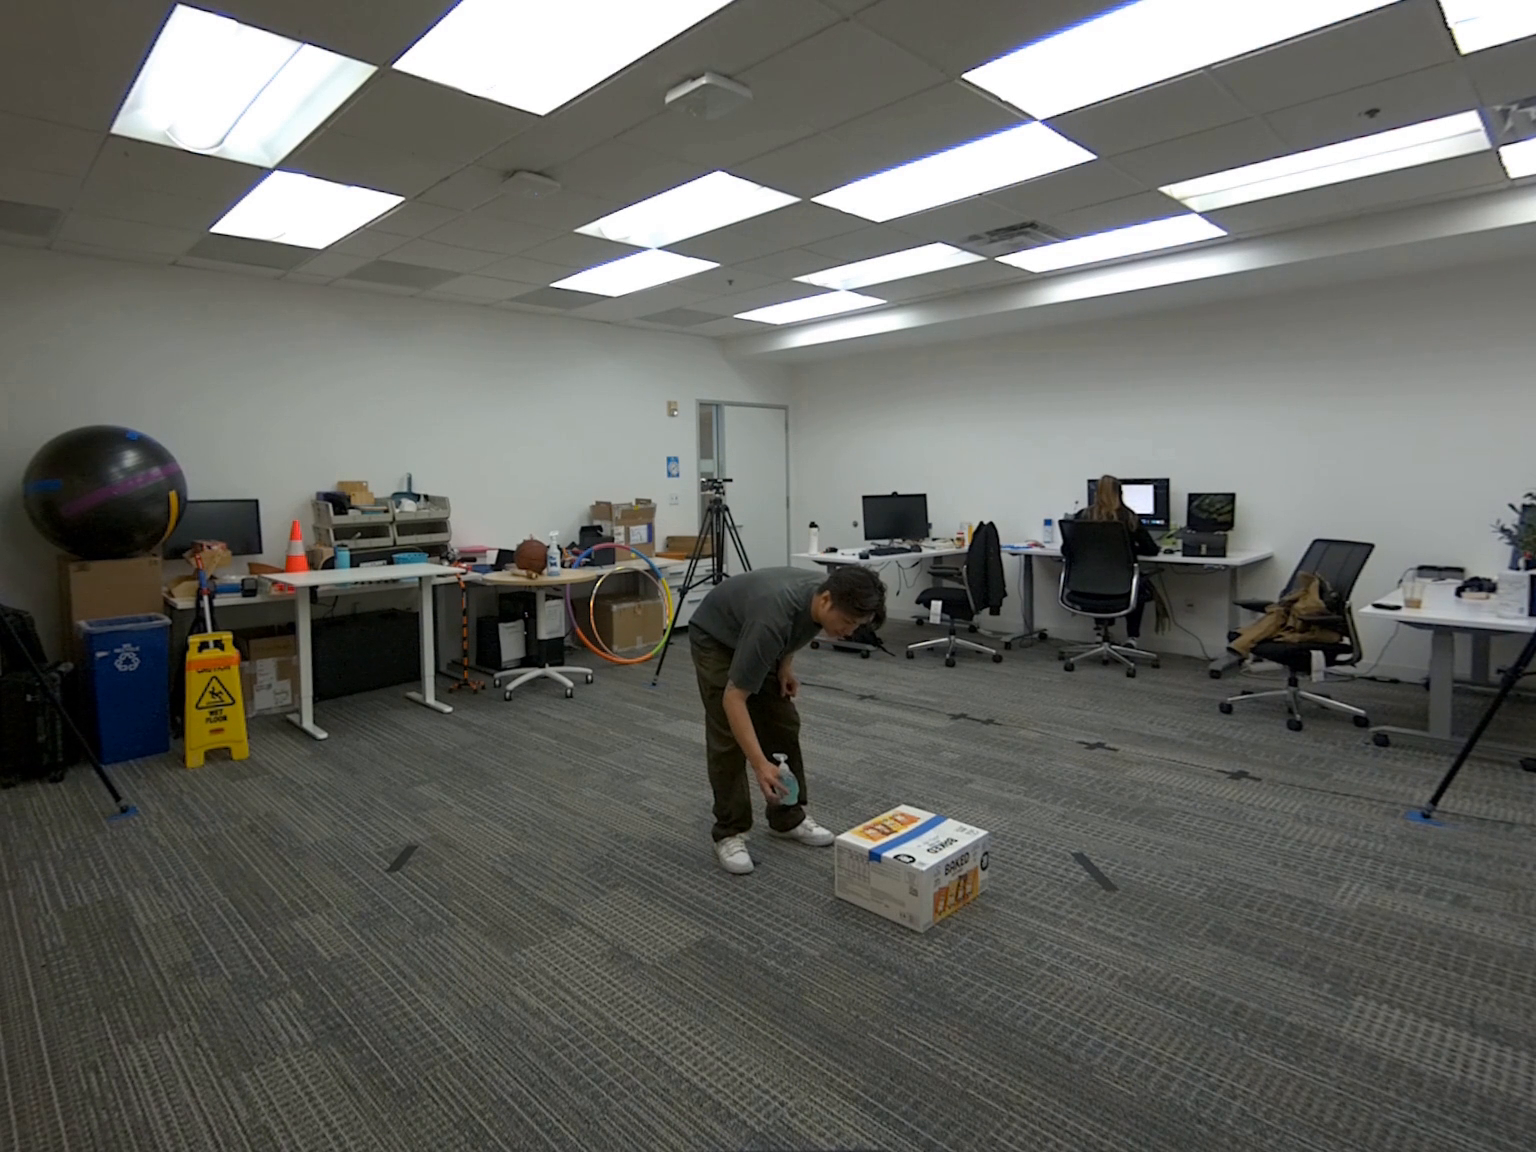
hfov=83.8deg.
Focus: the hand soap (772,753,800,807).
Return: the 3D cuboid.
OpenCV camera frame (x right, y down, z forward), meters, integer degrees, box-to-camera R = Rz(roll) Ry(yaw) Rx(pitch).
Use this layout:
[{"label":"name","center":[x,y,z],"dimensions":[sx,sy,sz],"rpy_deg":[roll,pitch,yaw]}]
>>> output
[{"label":"hand soap","center":[0.044,0.649,2.712],"dimensions":[0.087,0.165,0.043],"rpy_deg":[3,19,31]}]
